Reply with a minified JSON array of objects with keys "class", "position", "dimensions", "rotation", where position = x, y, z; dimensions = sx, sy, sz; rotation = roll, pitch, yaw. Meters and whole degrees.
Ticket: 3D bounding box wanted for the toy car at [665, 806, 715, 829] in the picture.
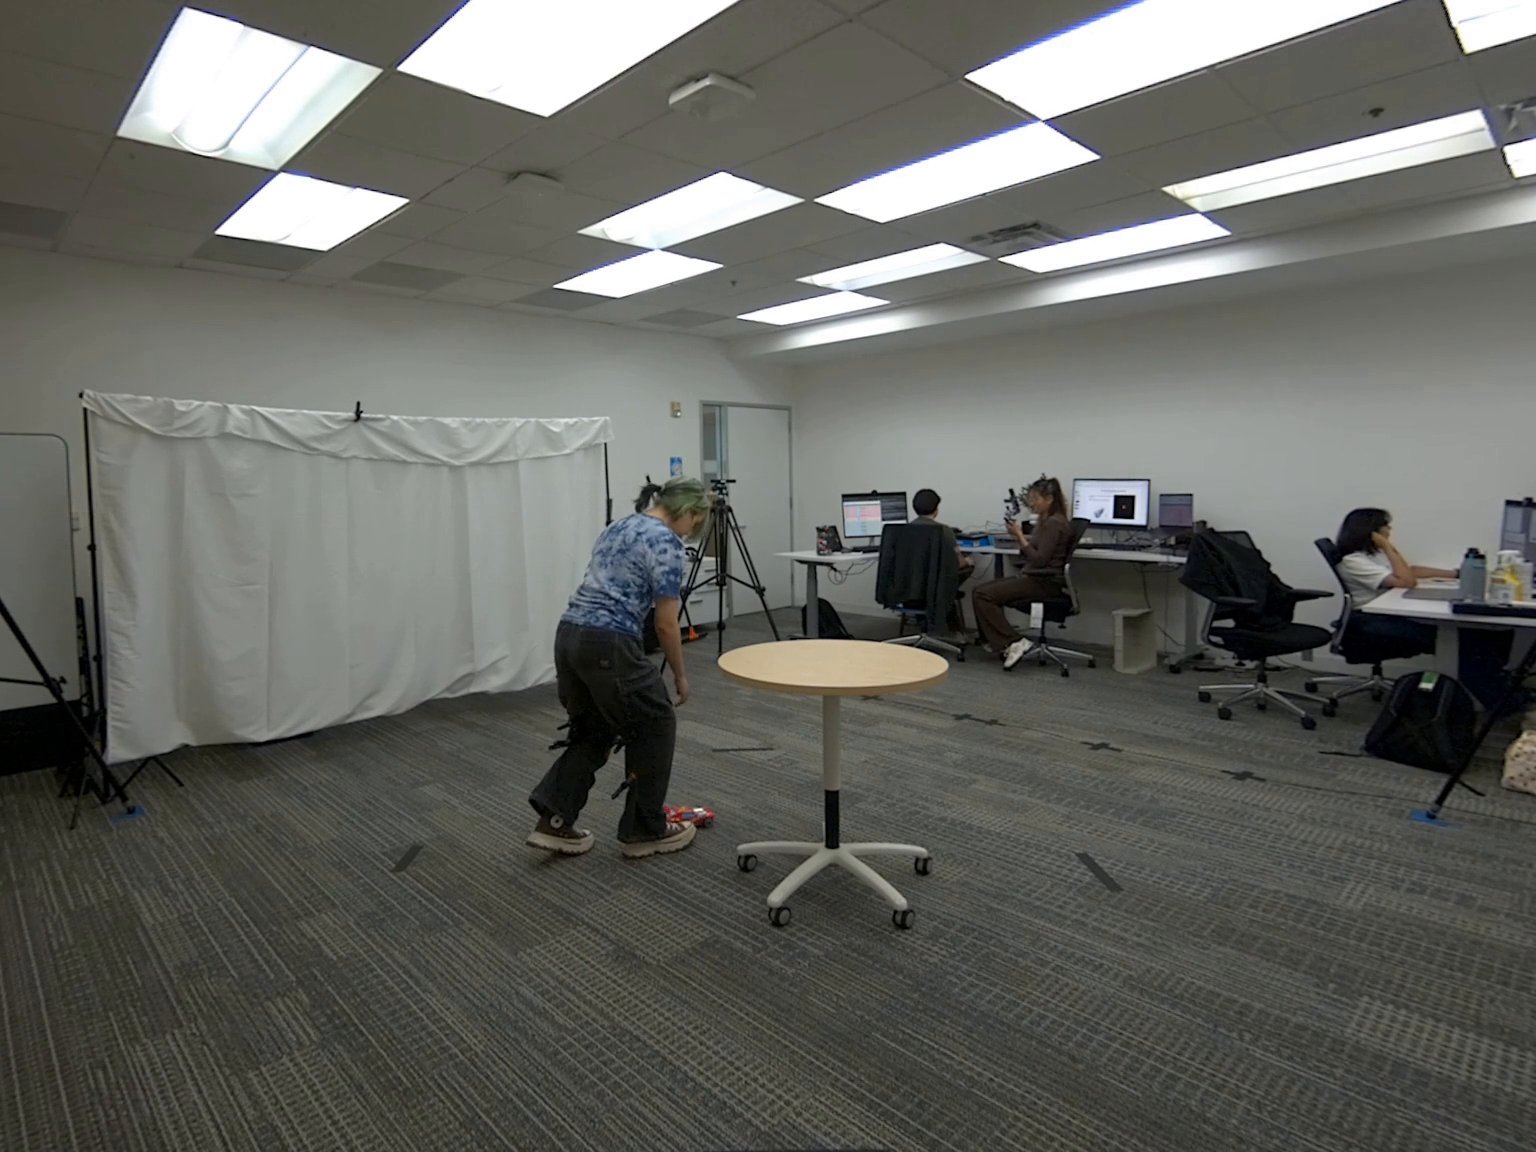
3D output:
[{"class":"toy car","position":[-0.348,0.984,3.460],"dimensions":[0.249,0.083,0.133],"rotation":[8,1,-21]}]
